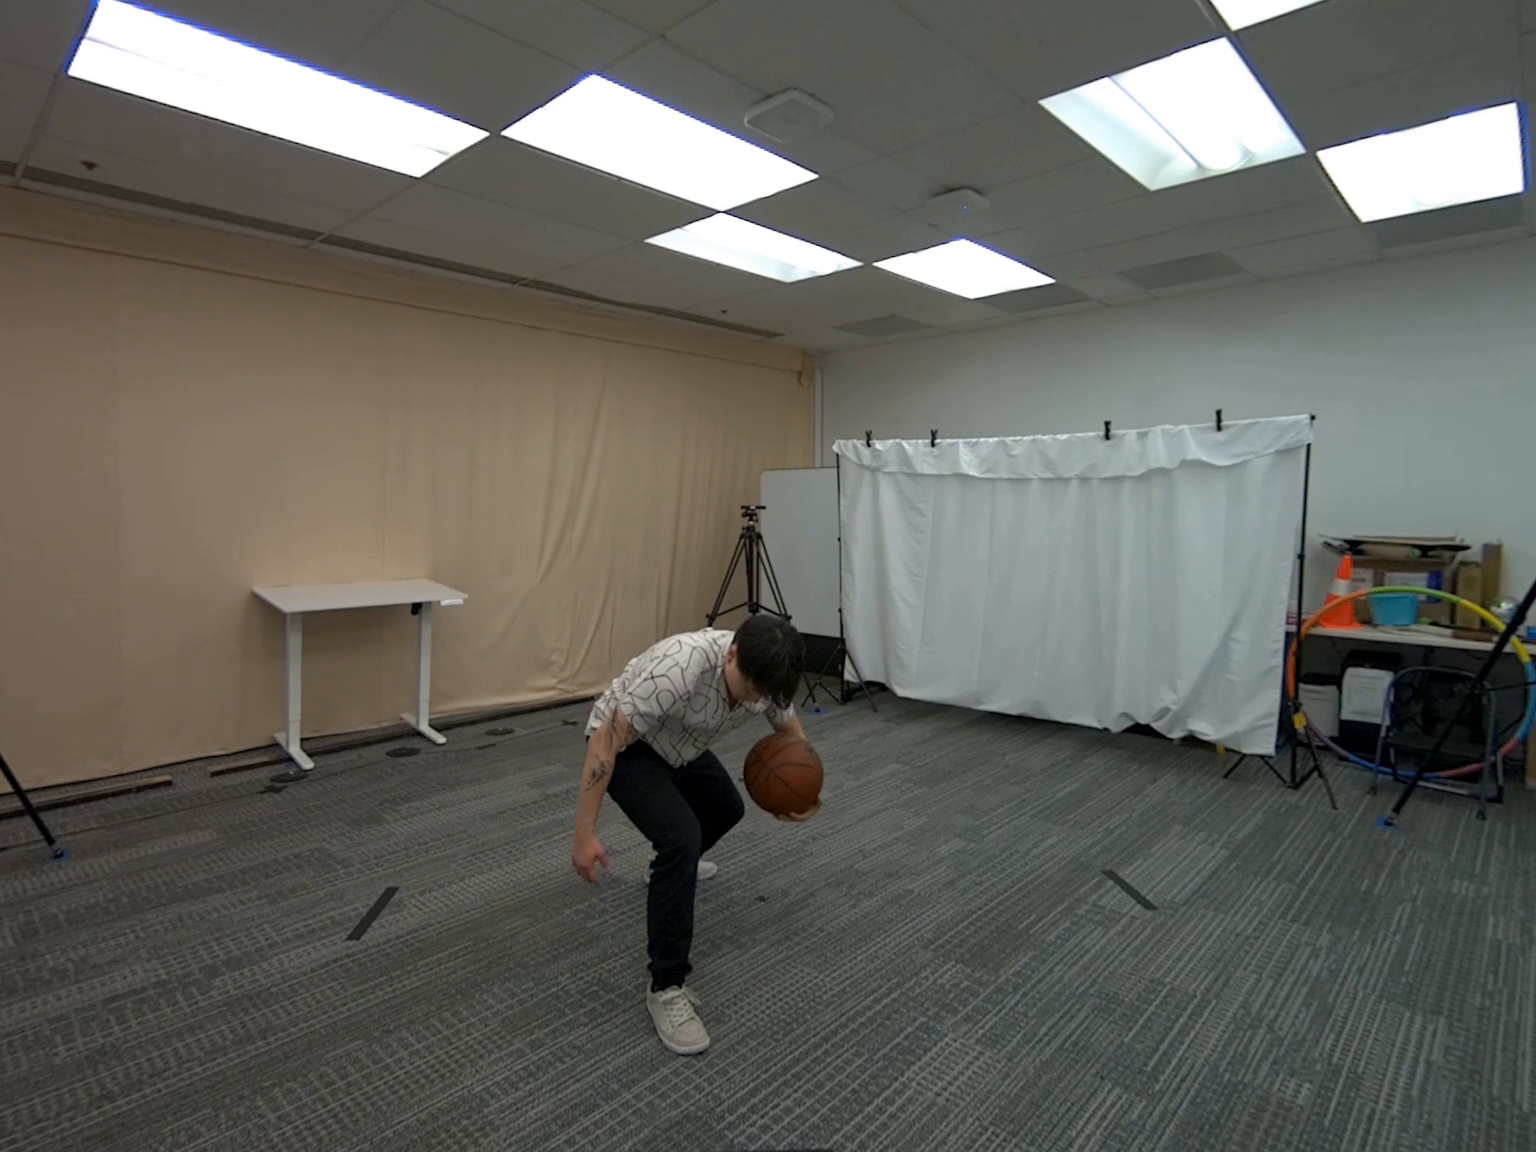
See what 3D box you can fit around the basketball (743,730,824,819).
[{"bbox_3d":[0.044,0.588,2.489,0.236,0.235,0.237,0,4,-2],"label":"basketball"}]
